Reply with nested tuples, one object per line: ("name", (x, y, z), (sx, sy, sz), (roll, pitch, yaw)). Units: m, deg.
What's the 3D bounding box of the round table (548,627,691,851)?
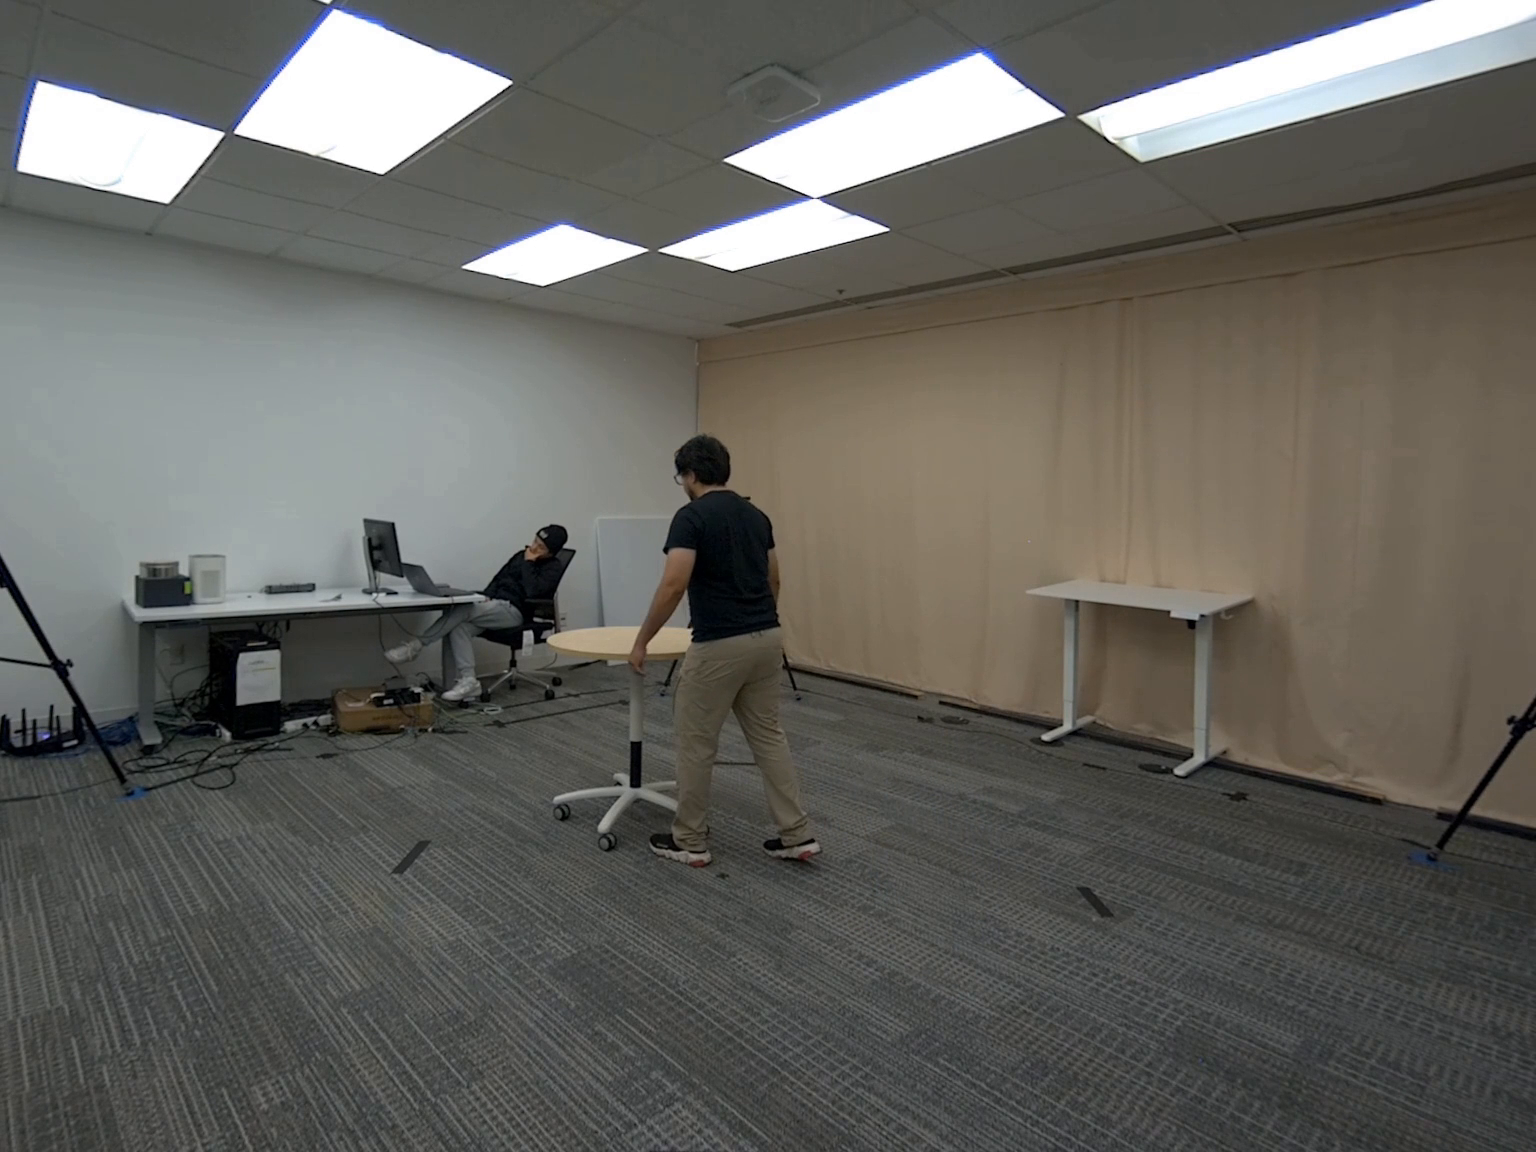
("round table", (-0.578, 0.655, 3.606), (0.784, 0.785, 0.787), (1, 4, -1))
